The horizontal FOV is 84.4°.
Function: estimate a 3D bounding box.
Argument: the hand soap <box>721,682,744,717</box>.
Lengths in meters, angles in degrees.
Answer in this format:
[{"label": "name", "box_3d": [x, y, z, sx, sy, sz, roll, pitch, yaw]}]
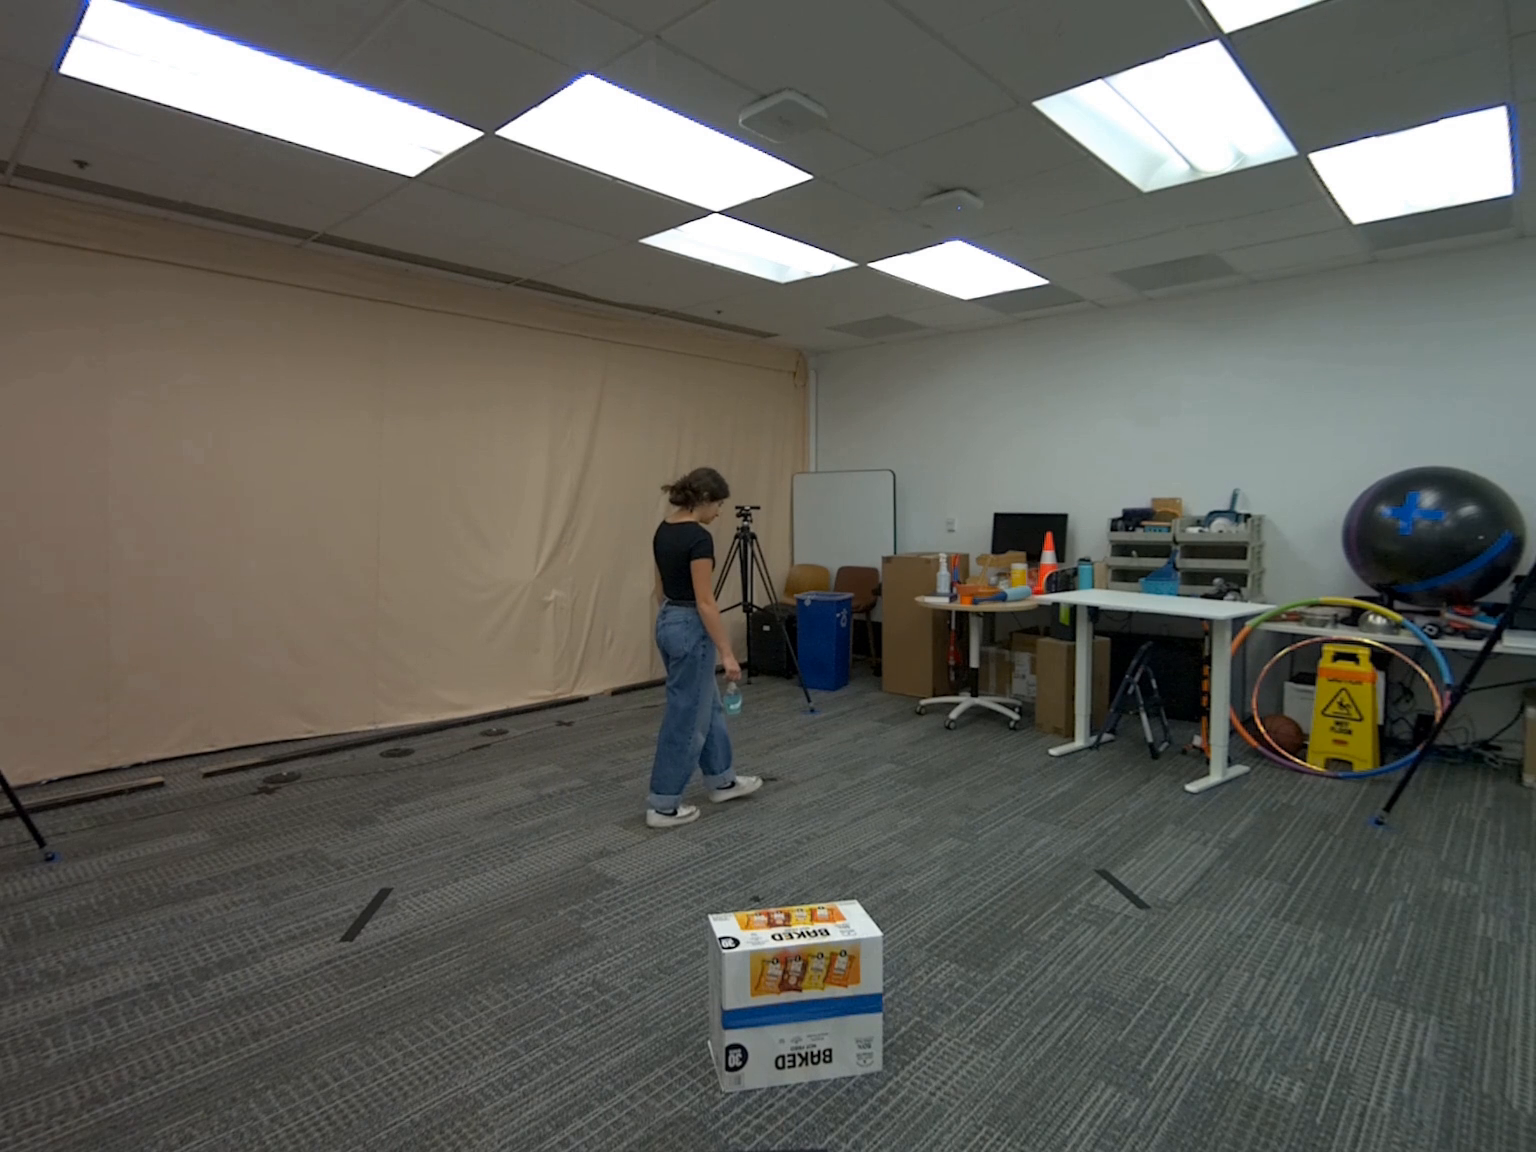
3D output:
[{"label": "hand soap", "box_3d": [-0.151, 0.505, 3.601, 0.083, 0.167, 0.044, -4, 7, -19]}]
